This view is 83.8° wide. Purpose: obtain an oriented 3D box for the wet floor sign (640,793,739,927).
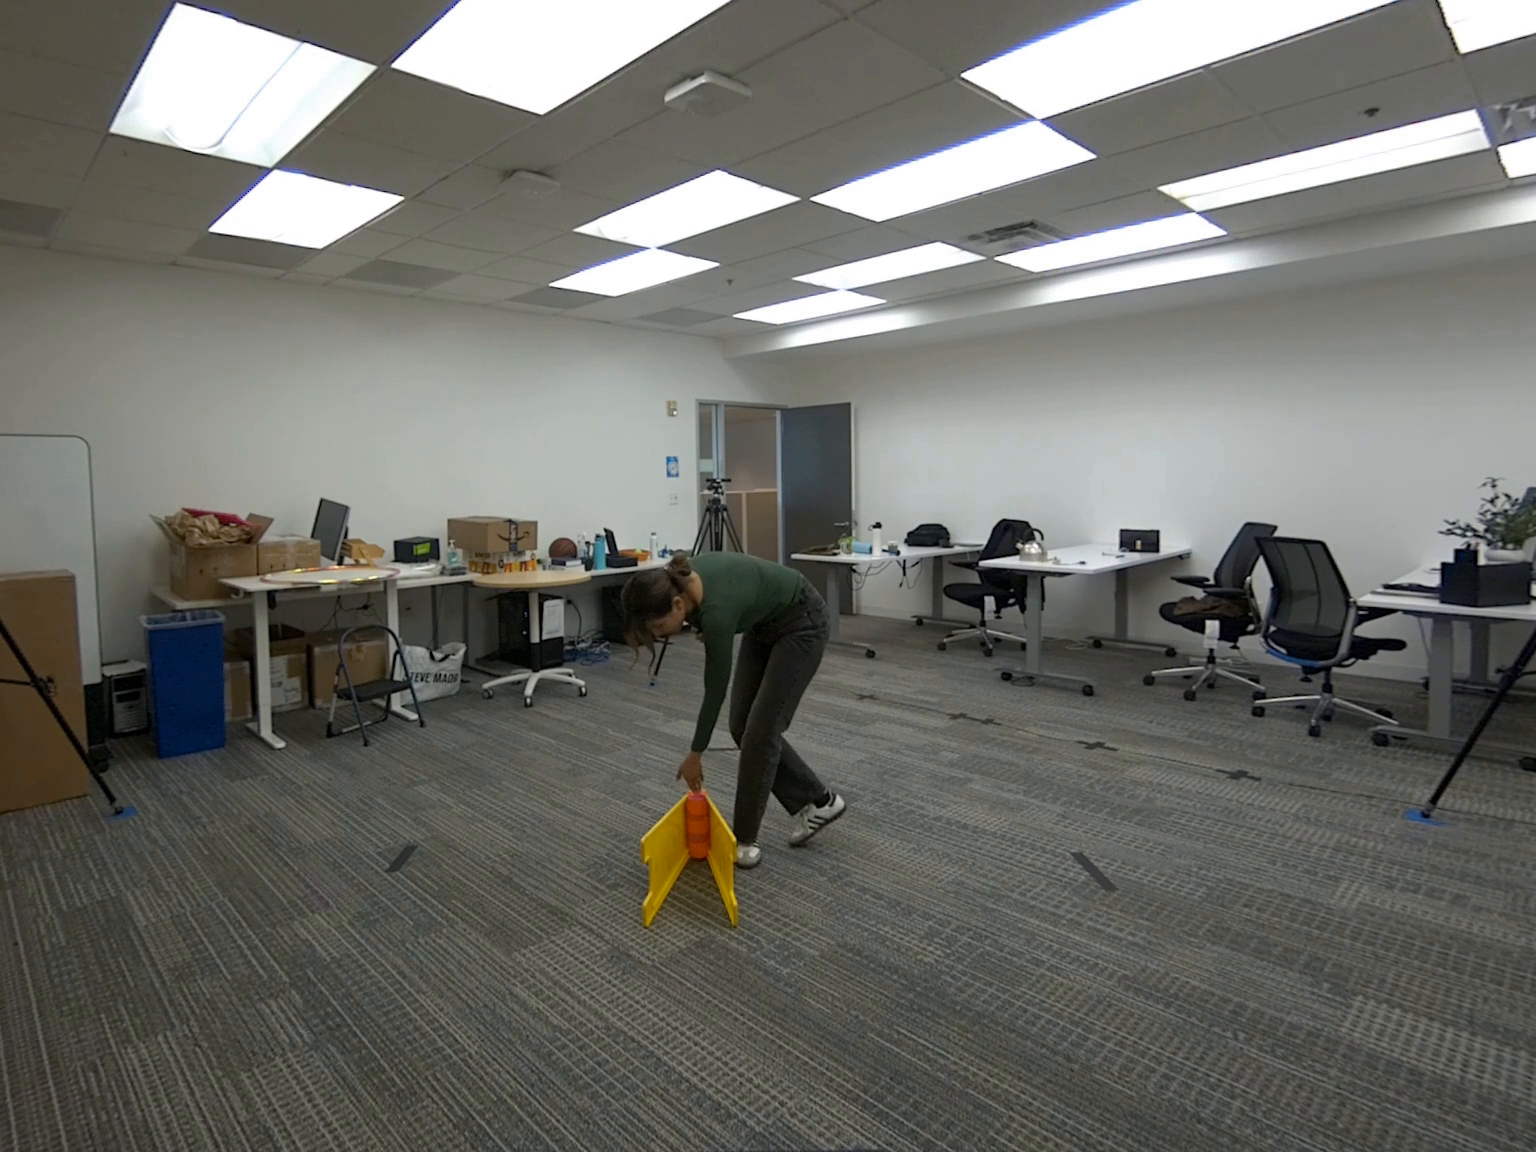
[{"bbox_3d":[-0.257,0.928,2.986,0.289,0.281,0.648,-1,4,-2],"label":"wet floor sign"}]
